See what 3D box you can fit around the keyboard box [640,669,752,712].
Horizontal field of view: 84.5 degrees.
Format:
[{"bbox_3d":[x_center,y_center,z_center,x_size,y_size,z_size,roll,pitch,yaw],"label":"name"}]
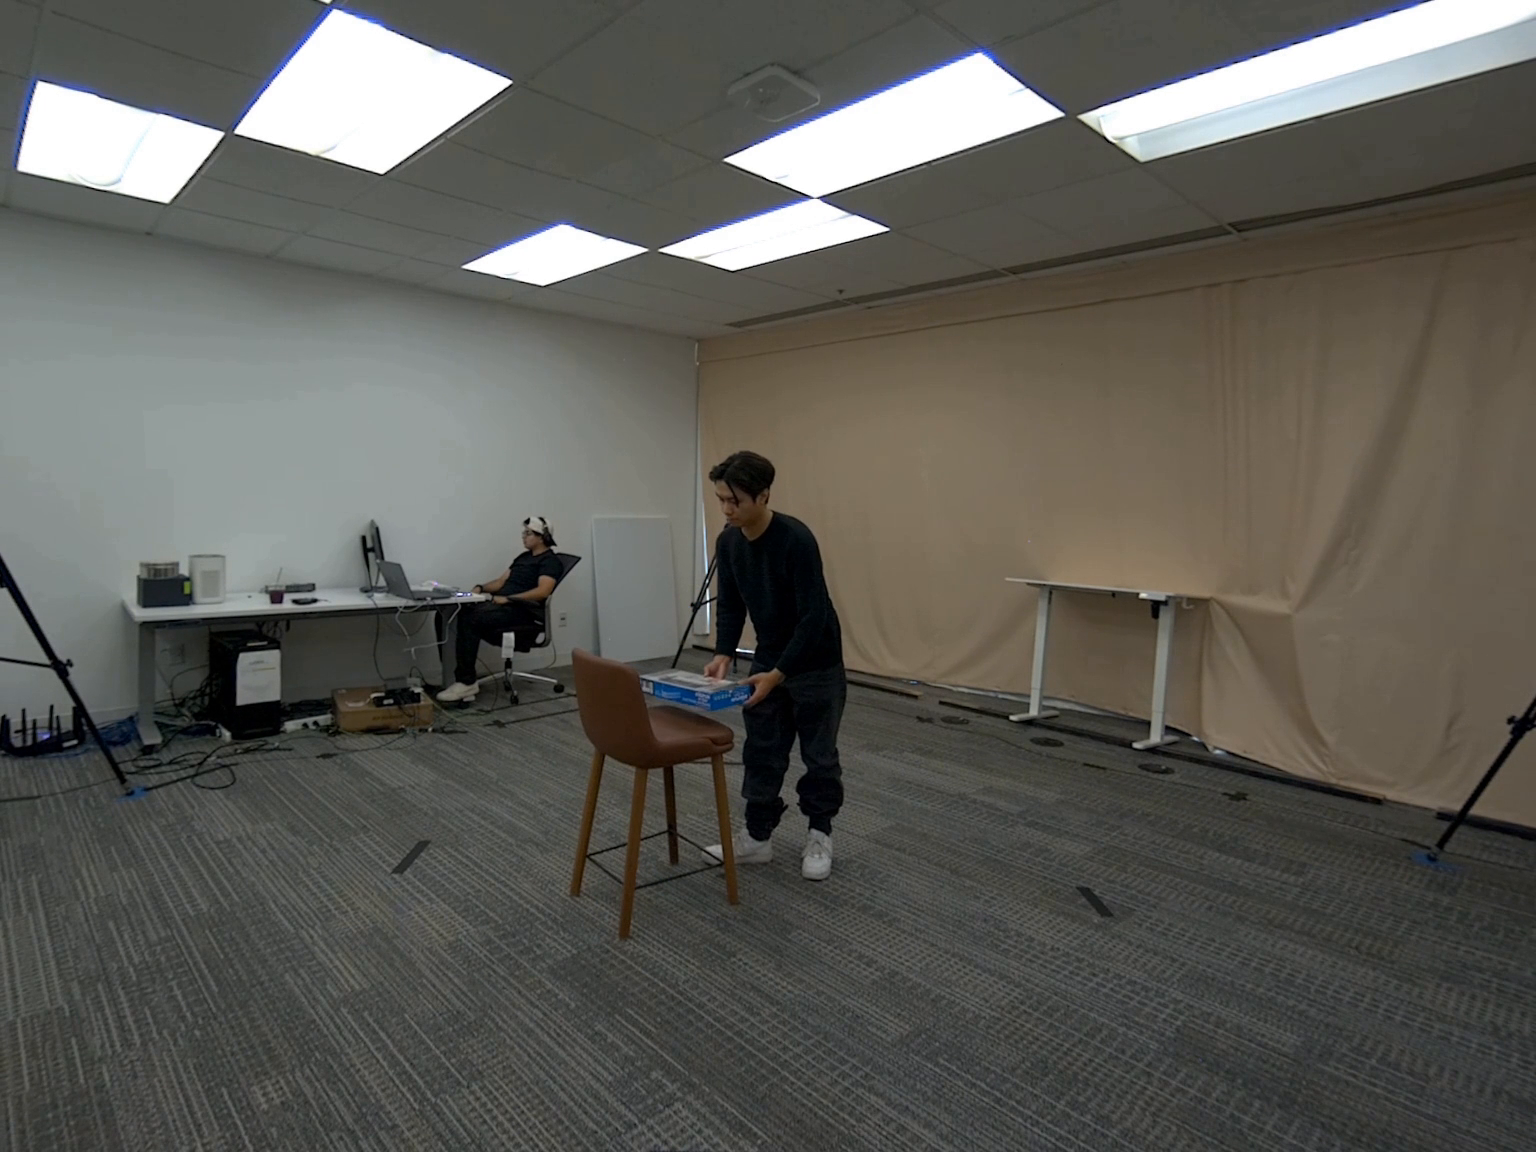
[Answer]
[{"bbox_3d":[-0.277,0.397,3.011,0.172,0.059,0.447,-7,7,-42],"label":"keyboard box"}]
